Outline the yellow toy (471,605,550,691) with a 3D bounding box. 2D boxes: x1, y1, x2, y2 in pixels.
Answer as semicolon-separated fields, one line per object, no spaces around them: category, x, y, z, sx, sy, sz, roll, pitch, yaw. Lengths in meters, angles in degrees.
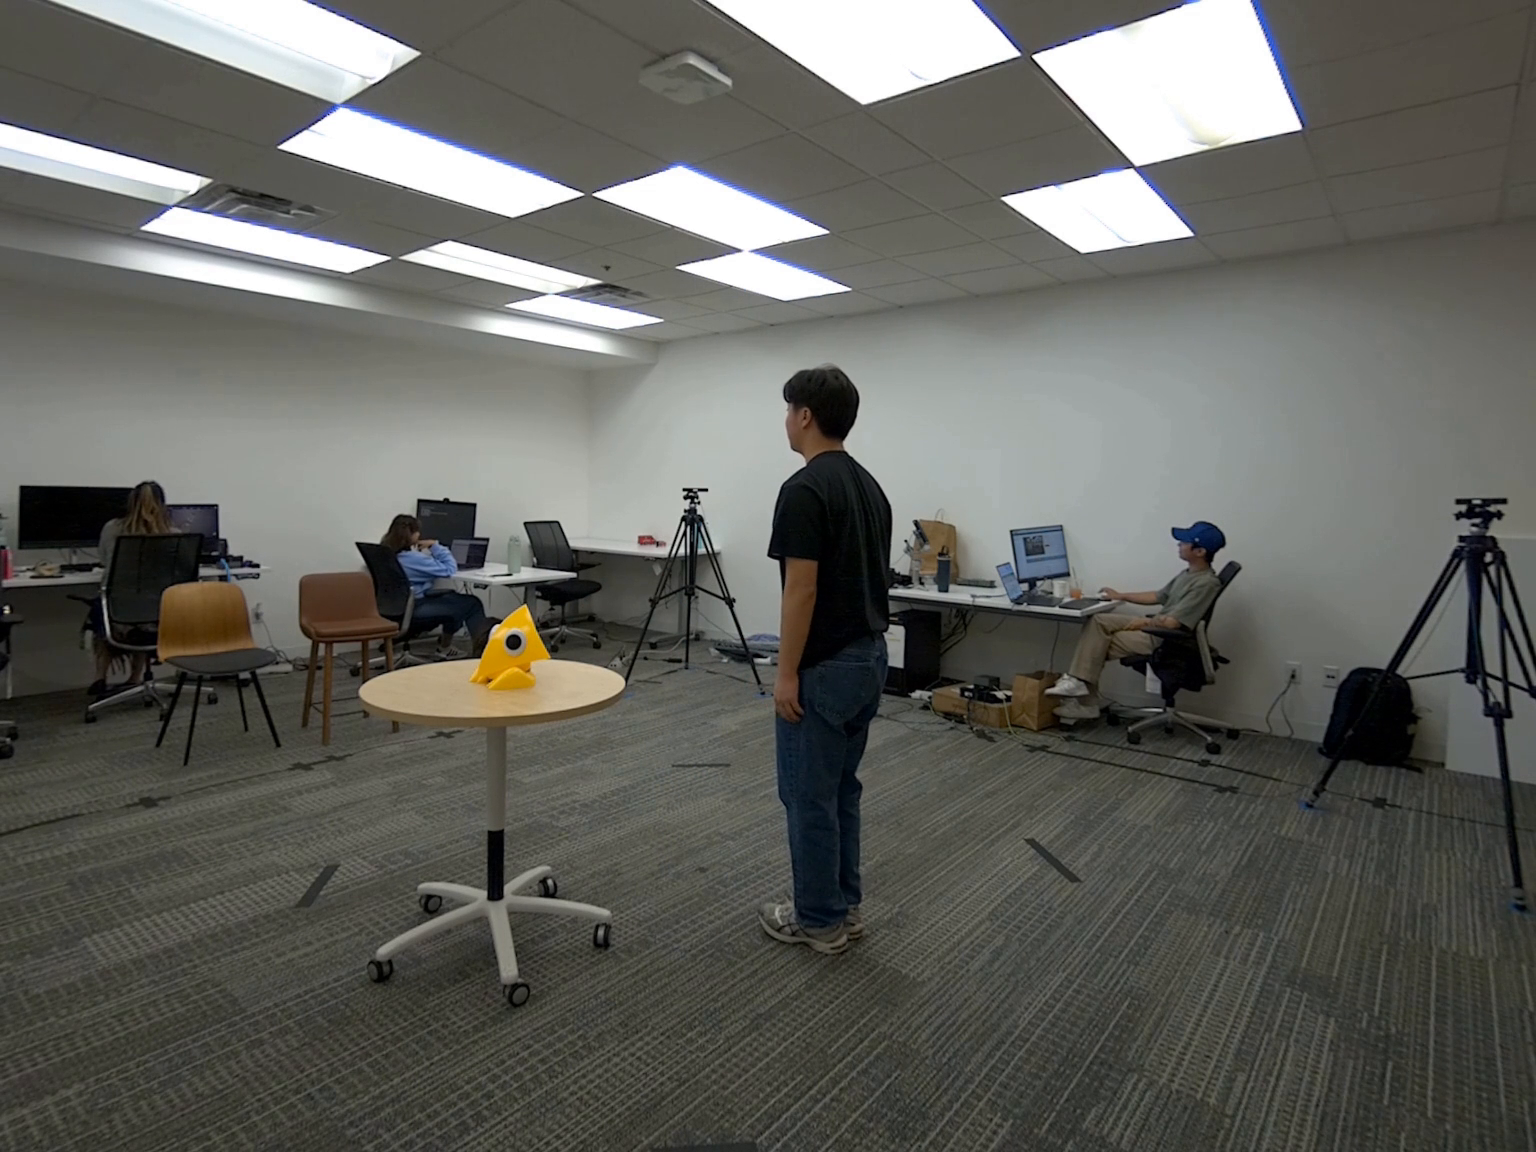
yellow toy;-0.801;0.206;2.572;0.187;0.230;0.212;-3;6;-43
